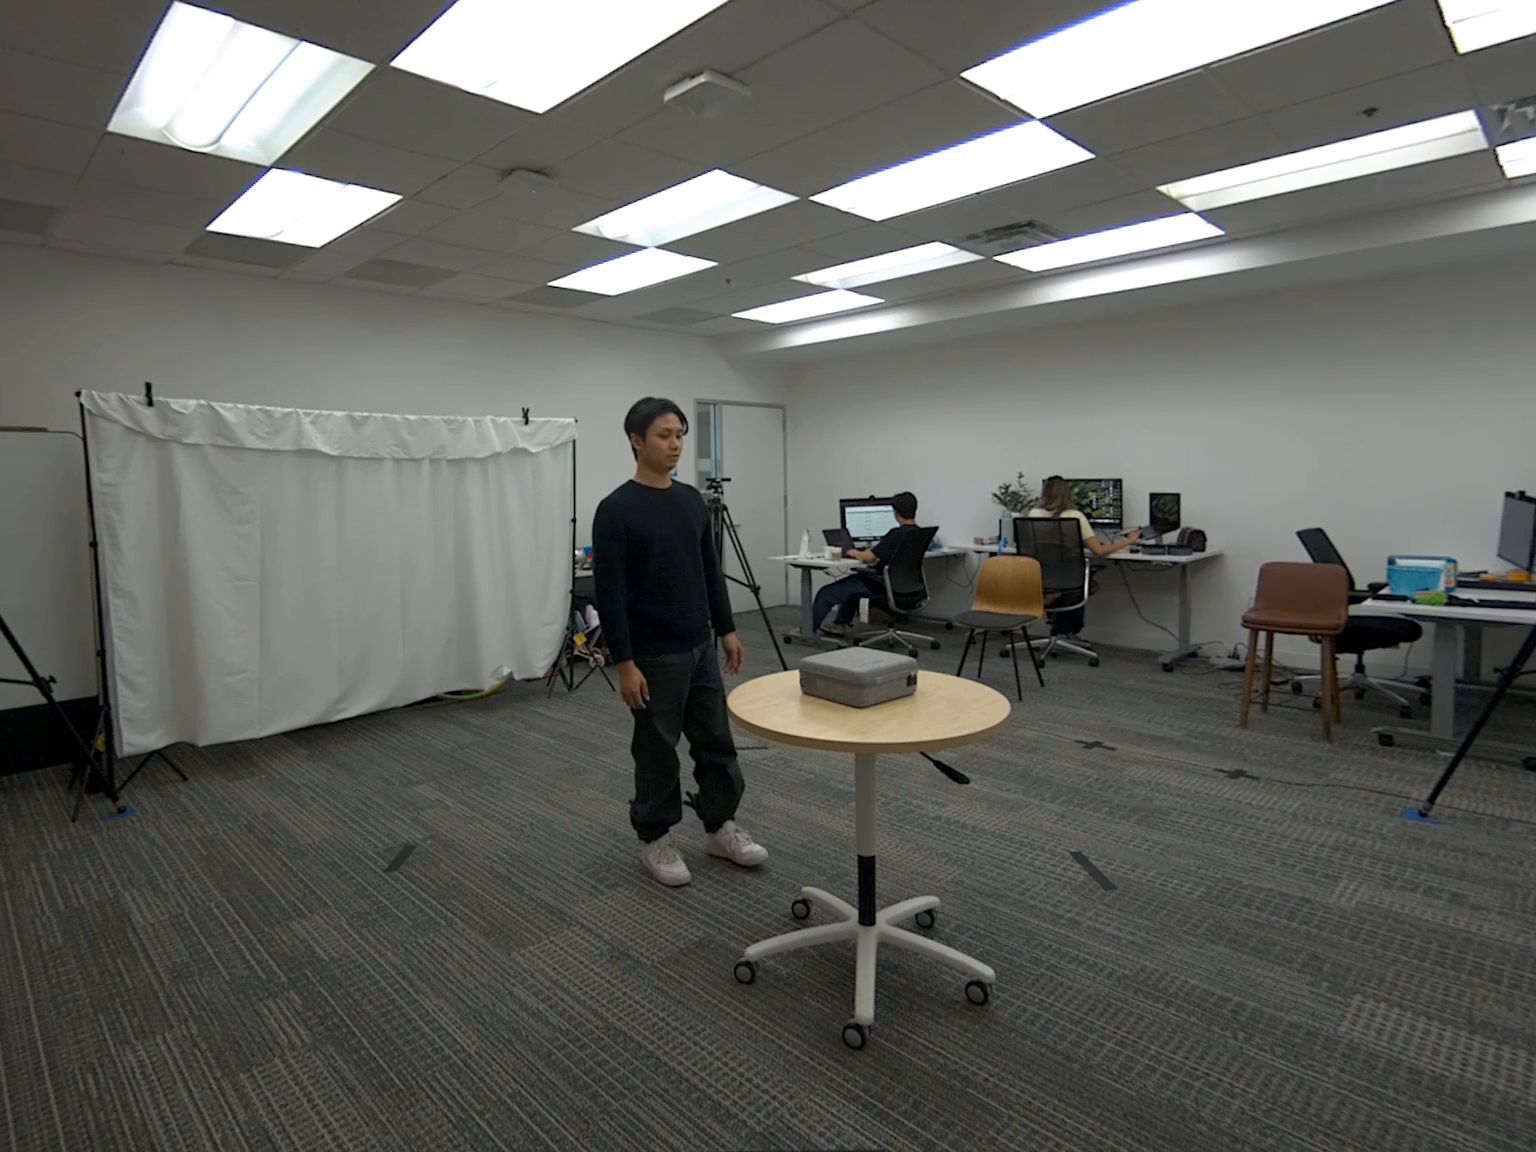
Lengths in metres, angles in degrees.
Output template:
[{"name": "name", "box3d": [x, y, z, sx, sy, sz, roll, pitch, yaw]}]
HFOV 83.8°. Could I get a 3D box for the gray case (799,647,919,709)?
[{"name": "gray case", "box3d": [0.257, 0.279, 2.420, 0.250, 0.104, 0.268, -8, 9, -38]}]
